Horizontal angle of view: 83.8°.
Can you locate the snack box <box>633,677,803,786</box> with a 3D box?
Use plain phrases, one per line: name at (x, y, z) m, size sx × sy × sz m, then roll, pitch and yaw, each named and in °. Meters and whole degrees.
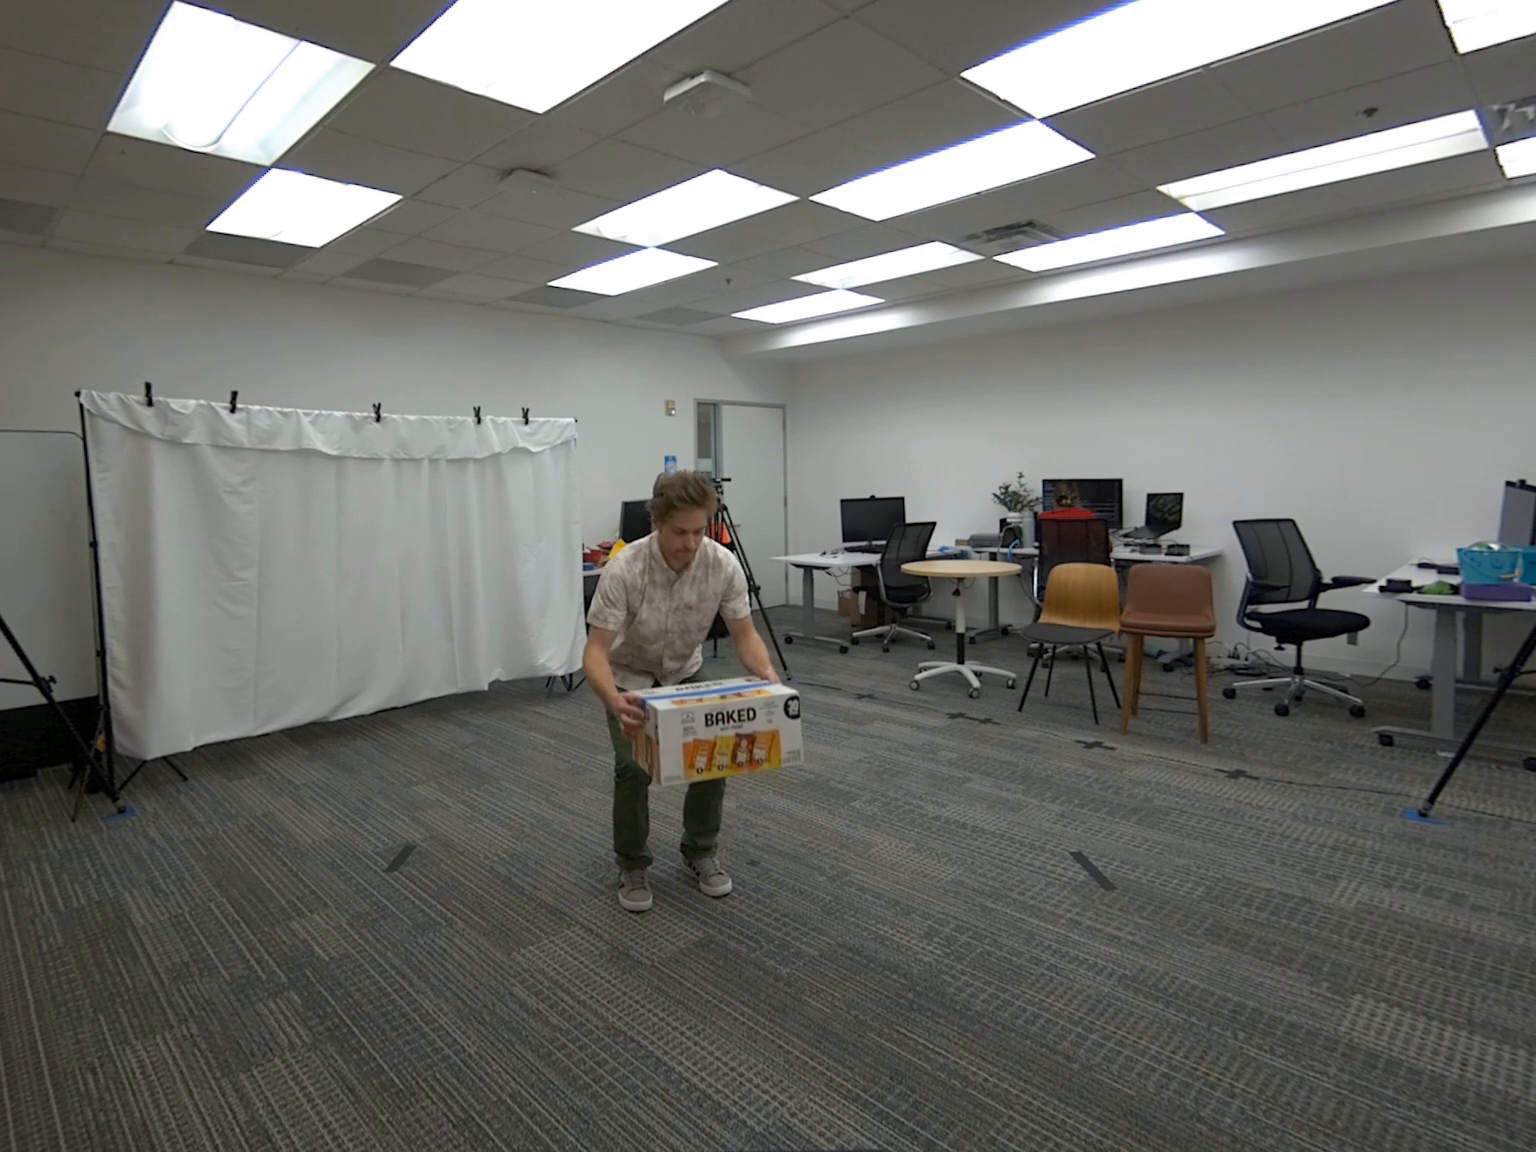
snack box at (-0.155, 0.433, 2.429) m, size 0.398 × 0.205 × 0.346 m, roll -4°, pitch 2°, yaw -21°
